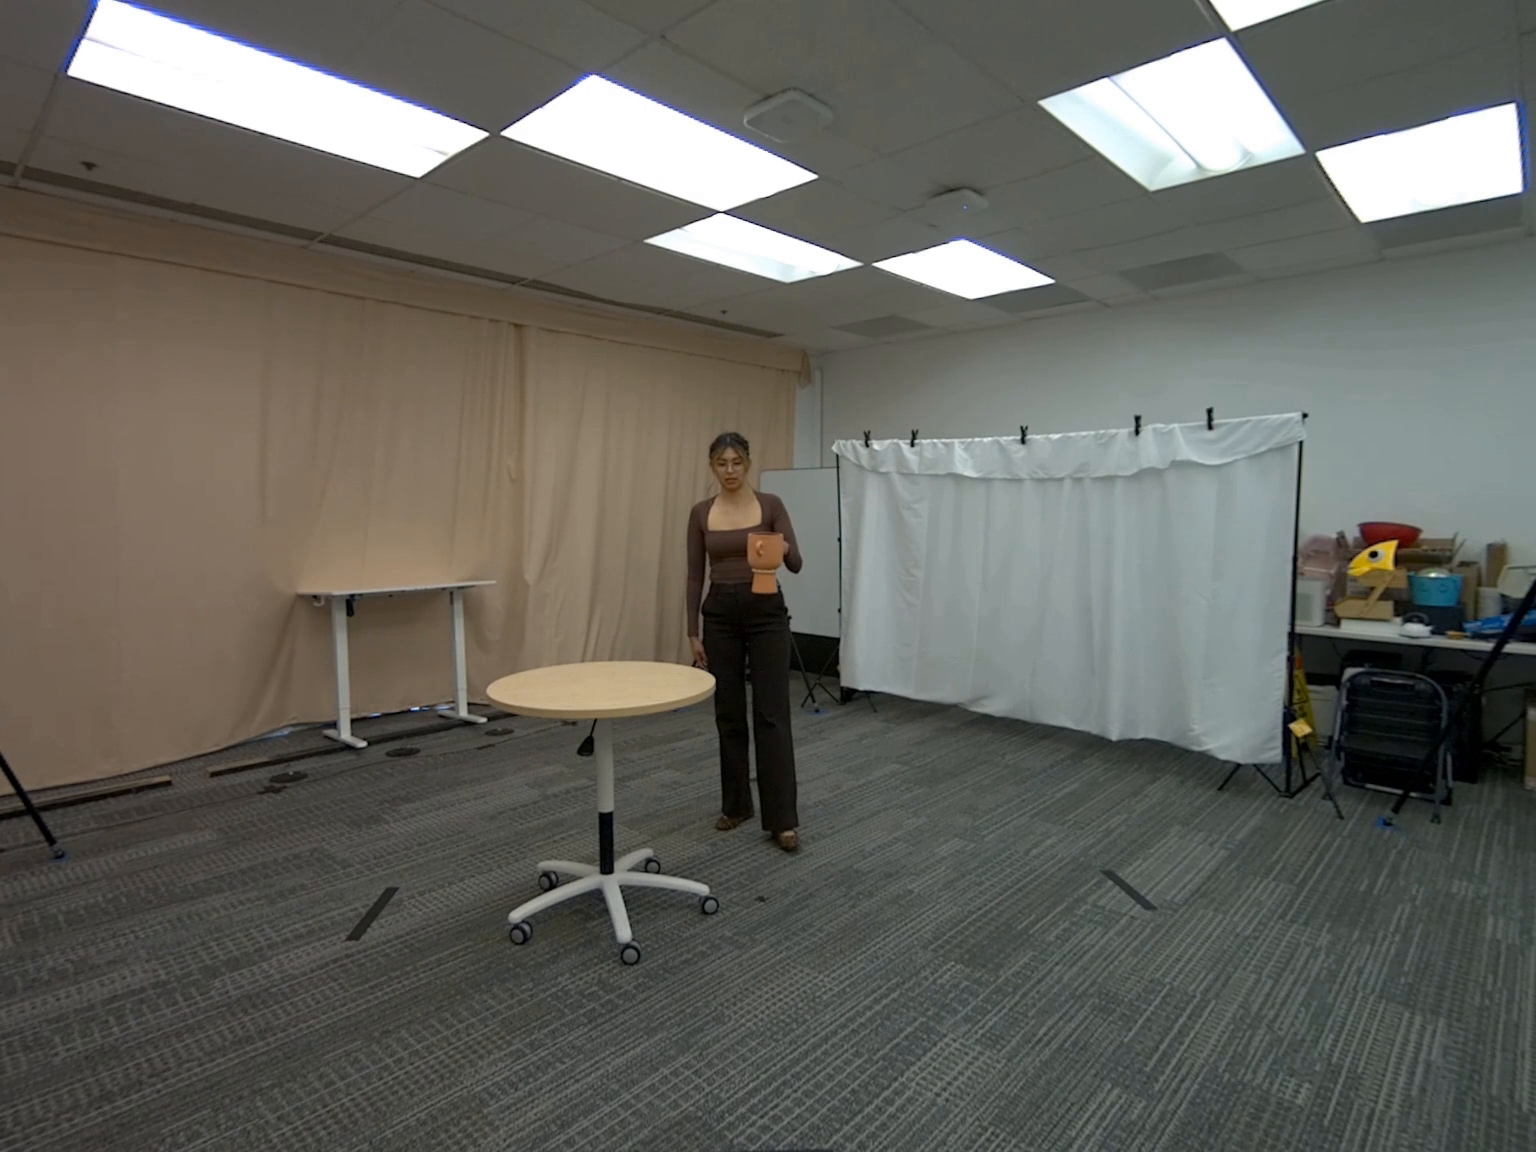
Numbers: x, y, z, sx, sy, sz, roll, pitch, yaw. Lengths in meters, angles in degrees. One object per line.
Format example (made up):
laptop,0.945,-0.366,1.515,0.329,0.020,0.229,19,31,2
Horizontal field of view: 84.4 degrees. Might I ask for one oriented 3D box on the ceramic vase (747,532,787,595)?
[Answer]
ceramic vase,-0.005,-0.045,3.205,0.154,0.219,0.139,2,6,-29
